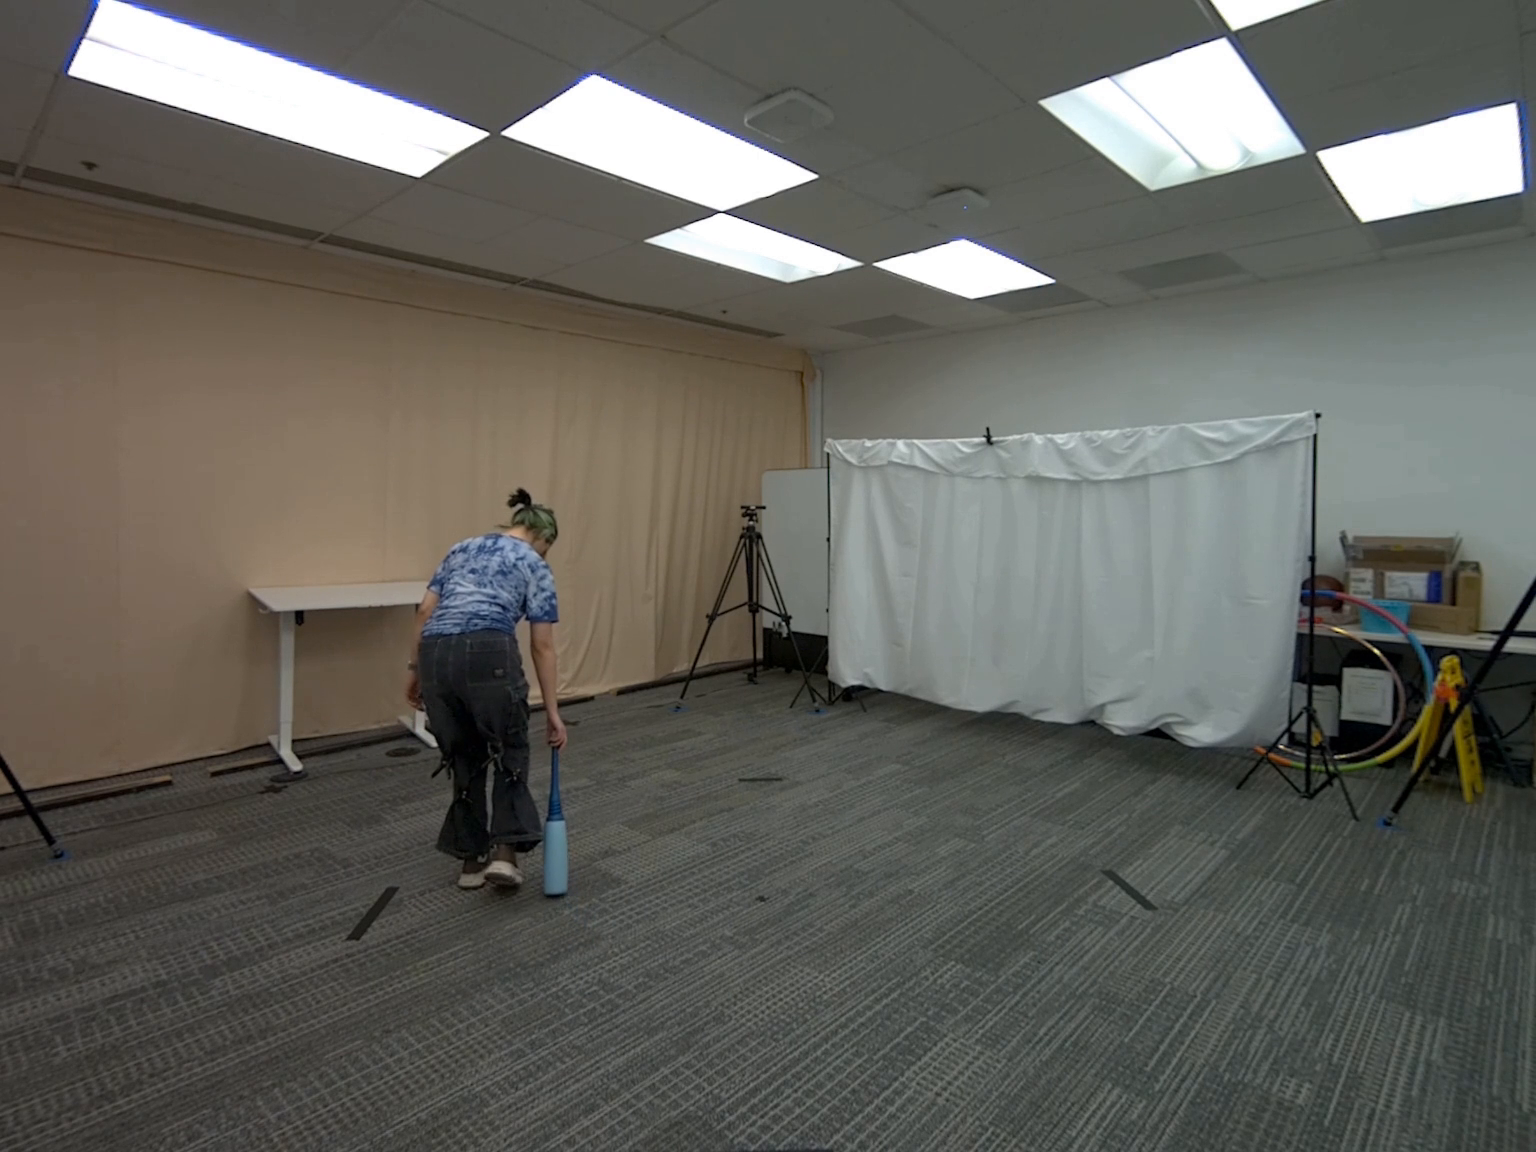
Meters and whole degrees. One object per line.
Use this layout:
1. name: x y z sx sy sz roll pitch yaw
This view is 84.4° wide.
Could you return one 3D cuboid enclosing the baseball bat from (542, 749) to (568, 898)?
1. baseball bat: -0.783 0.882 3.075 0.089 0.549 0.088 -3 -16 -3
